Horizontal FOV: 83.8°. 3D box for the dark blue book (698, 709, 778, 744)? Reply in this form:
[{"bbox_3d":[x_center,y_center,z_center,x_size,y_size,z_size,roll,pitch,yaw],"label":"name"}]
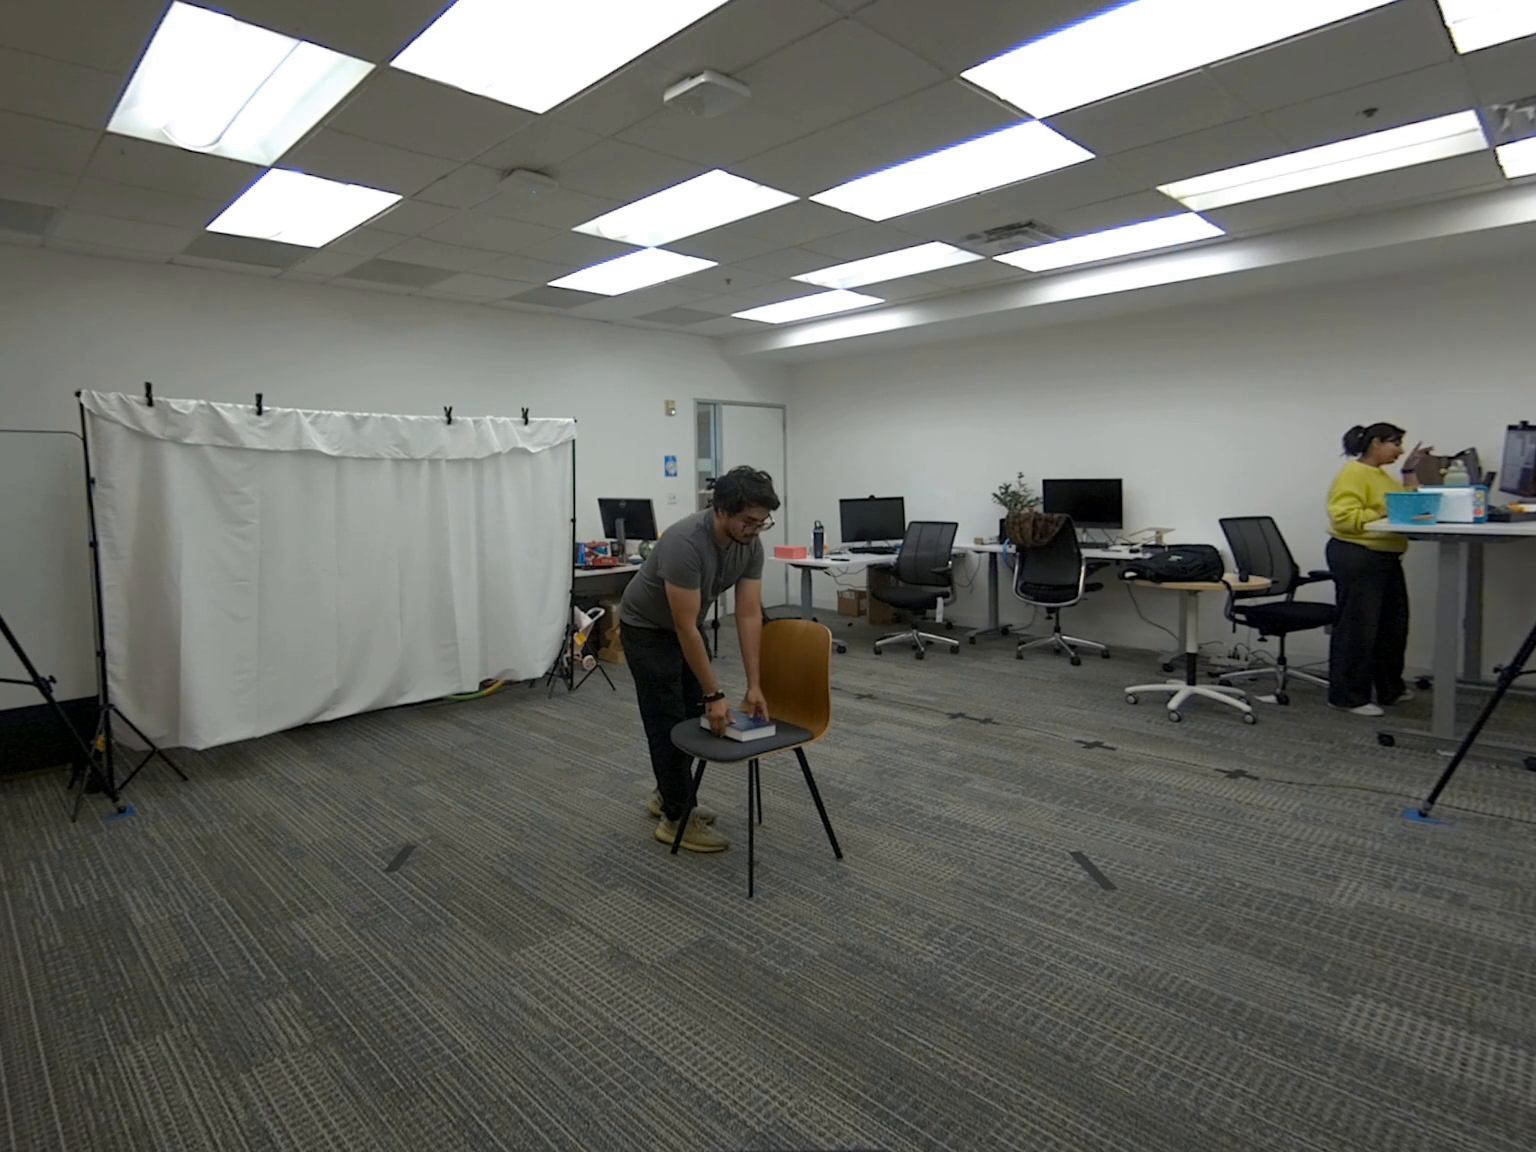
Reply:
[{"bbox_3d":[-0.111,0.537,3.082,0.159,0.045,0.253,-3,6,-41],"label":"dark blue book"}]
